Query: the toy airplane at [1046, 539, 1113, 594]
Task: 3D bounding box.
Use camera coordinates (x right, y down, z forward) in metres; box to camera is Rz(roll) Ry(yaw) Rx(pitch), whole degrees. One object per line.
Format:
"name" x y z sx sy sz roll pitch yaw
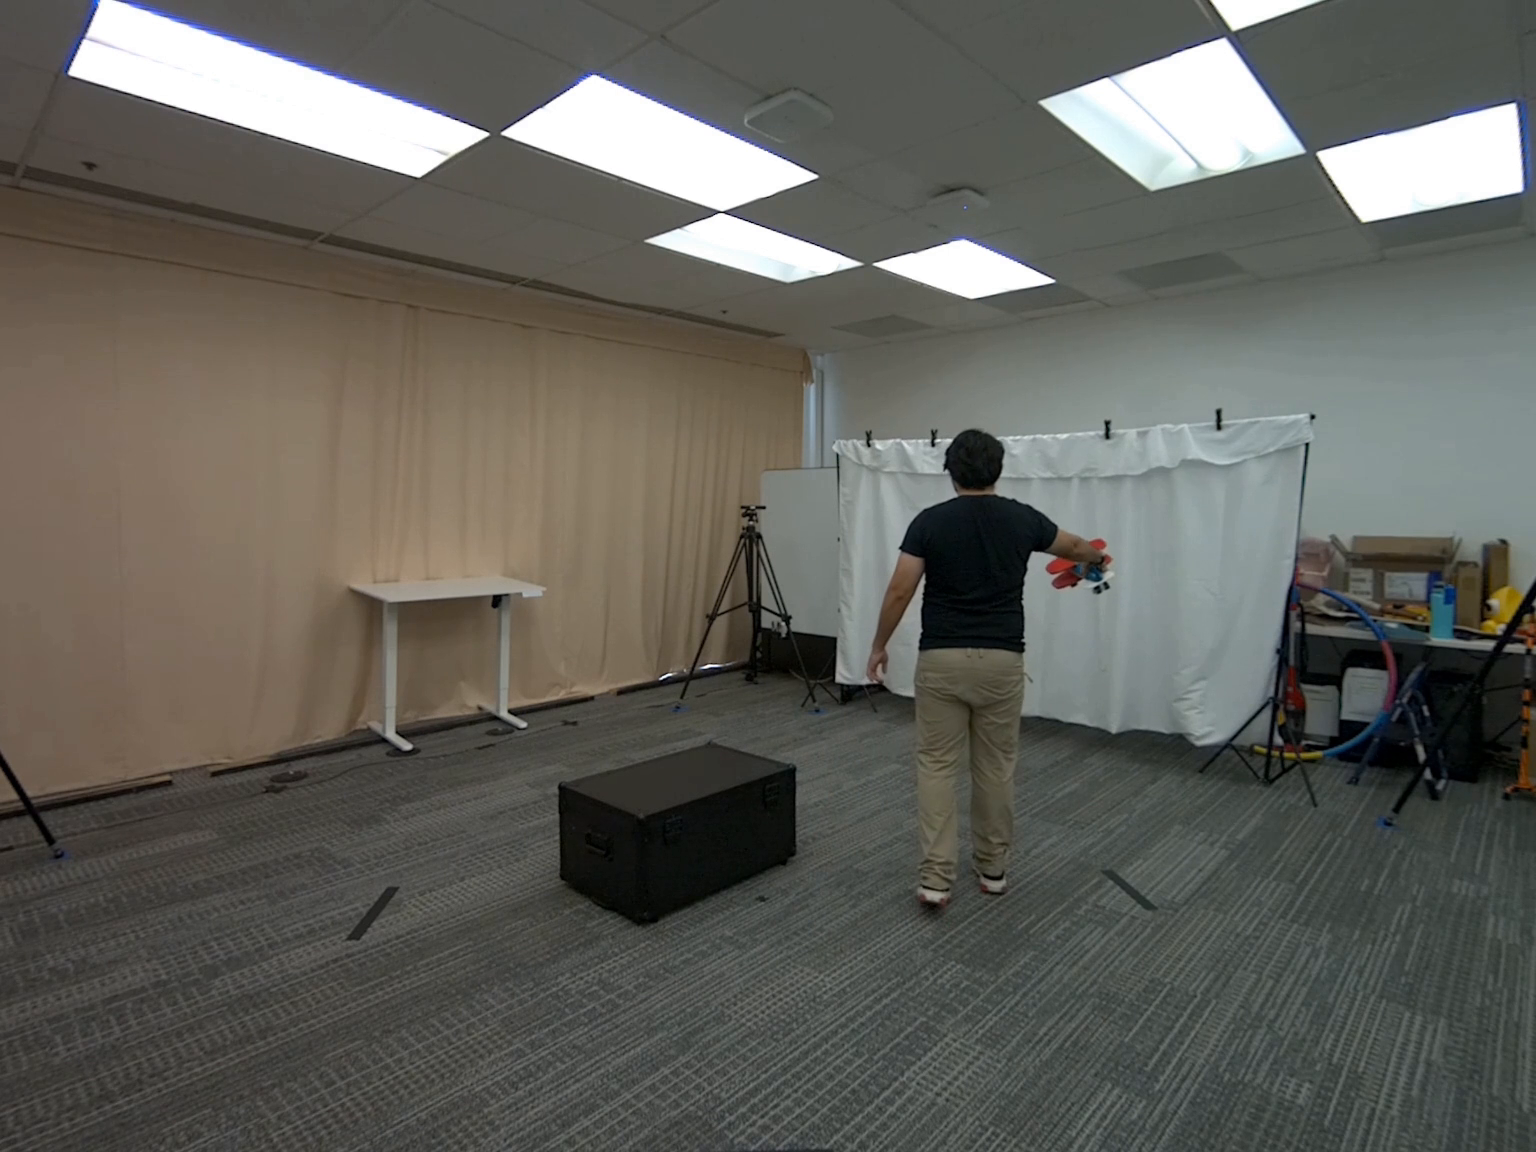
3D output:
"toy airplane" 1.314 -0.036 3.420 0.248 0.155 0.264 -34 9 -25
